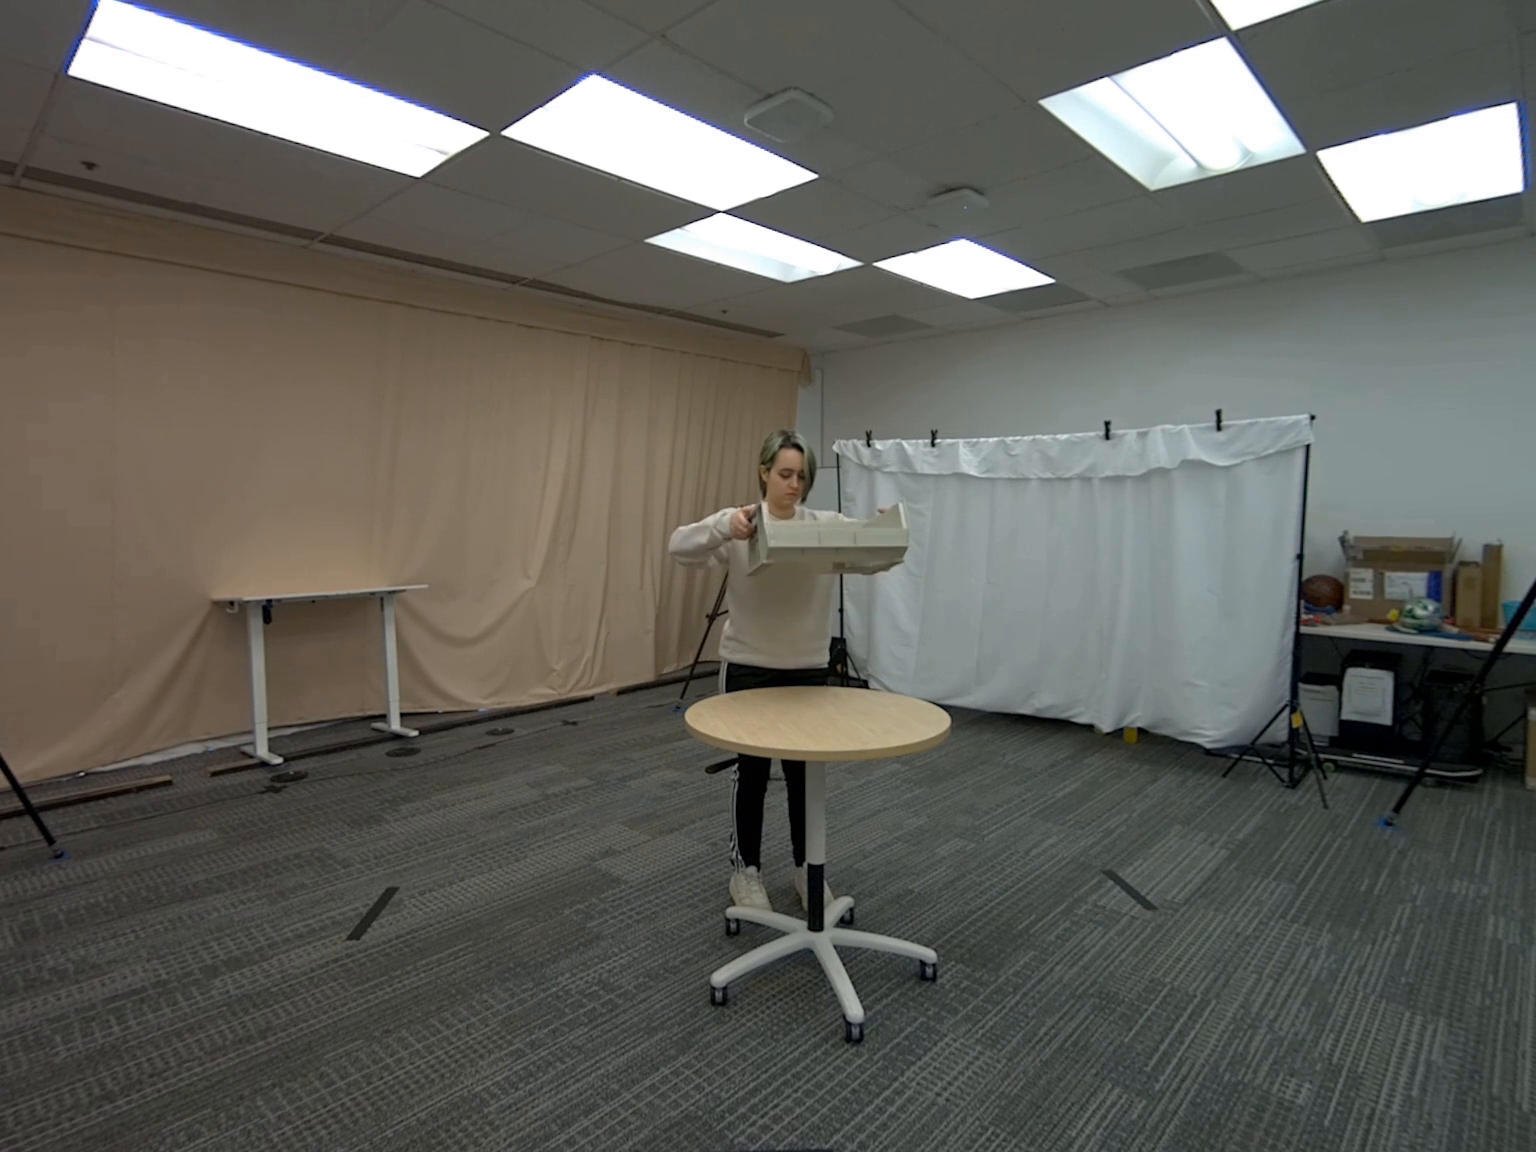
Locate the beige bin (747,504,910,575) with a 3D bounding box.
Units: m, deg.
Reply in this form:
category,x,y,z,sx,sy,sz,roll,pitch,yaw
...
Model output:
category,x,y,z,sx,sy,sz,roll,pitch,yaw
beige bin,0.167,-0.092,2.499,0.420,0.190,0.378,0,-8,-7
